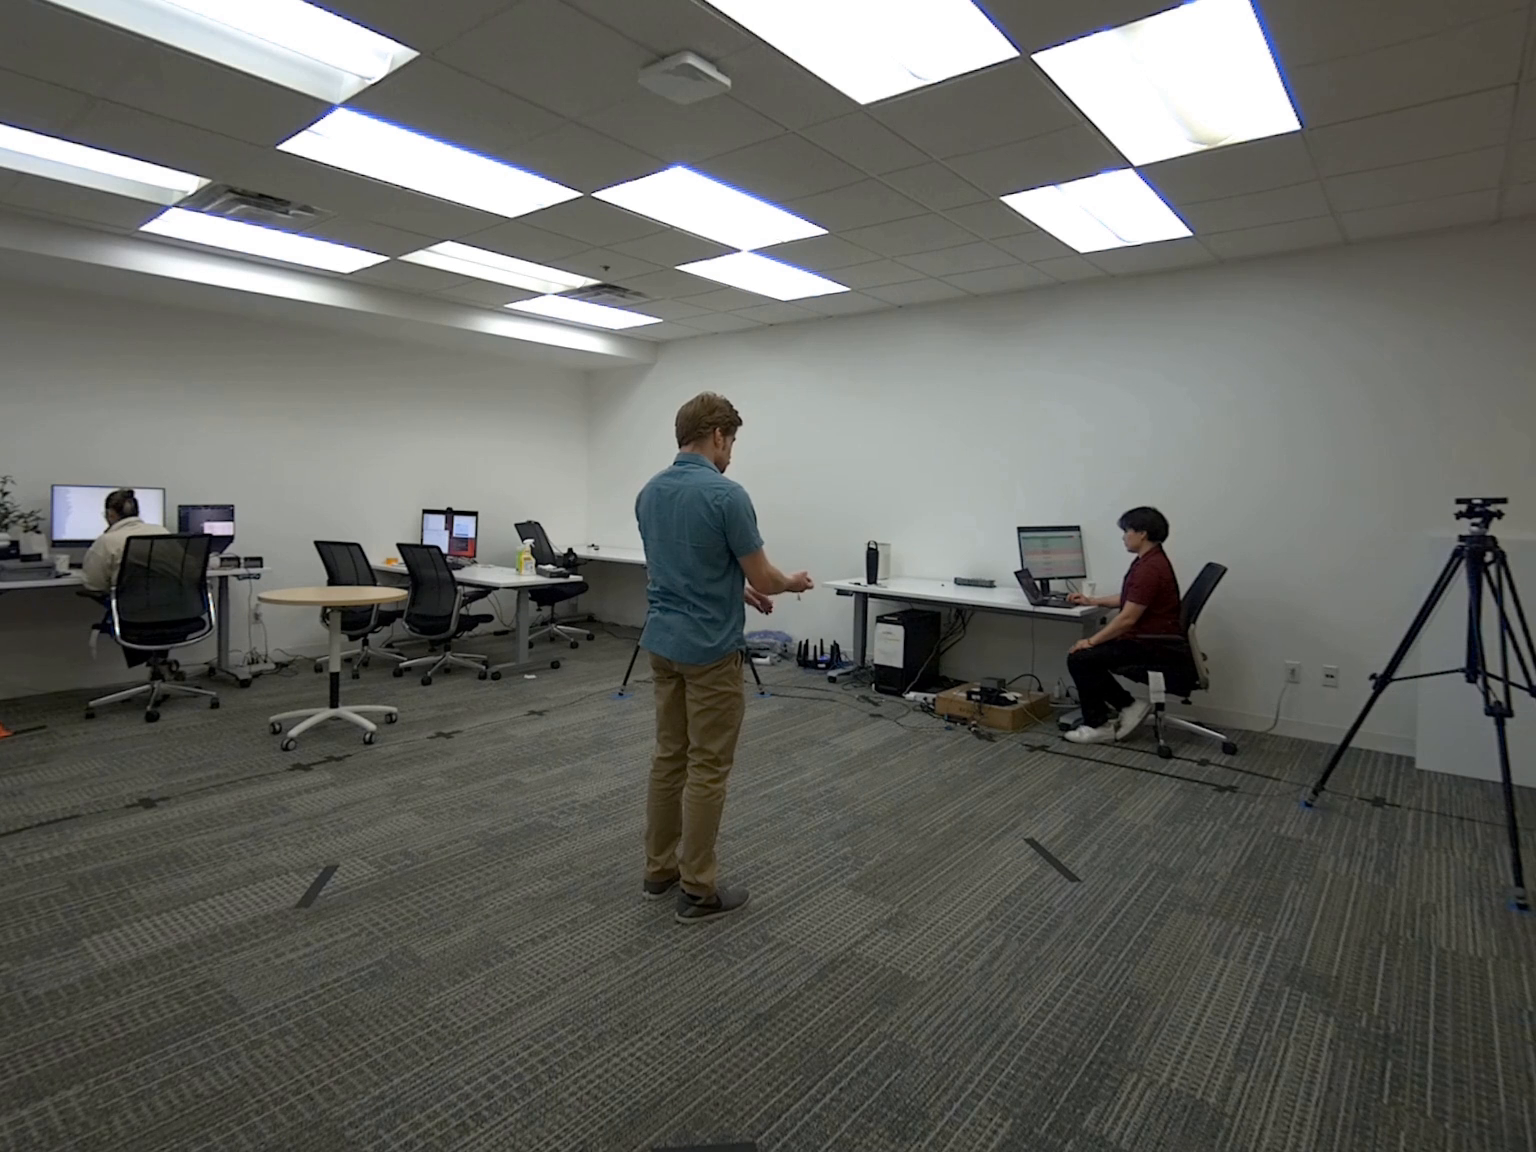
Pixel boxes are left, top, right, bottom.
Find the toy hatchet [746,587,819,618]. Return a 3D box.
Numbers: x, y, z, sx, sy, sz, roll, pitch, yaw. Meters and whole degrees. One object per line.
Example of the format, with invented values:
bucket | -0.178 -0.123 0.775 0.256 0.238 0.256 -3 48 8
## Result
toy hatchet | 0.036 0.075 3.132 0.274 0.030 0.126 -14 -48 23
